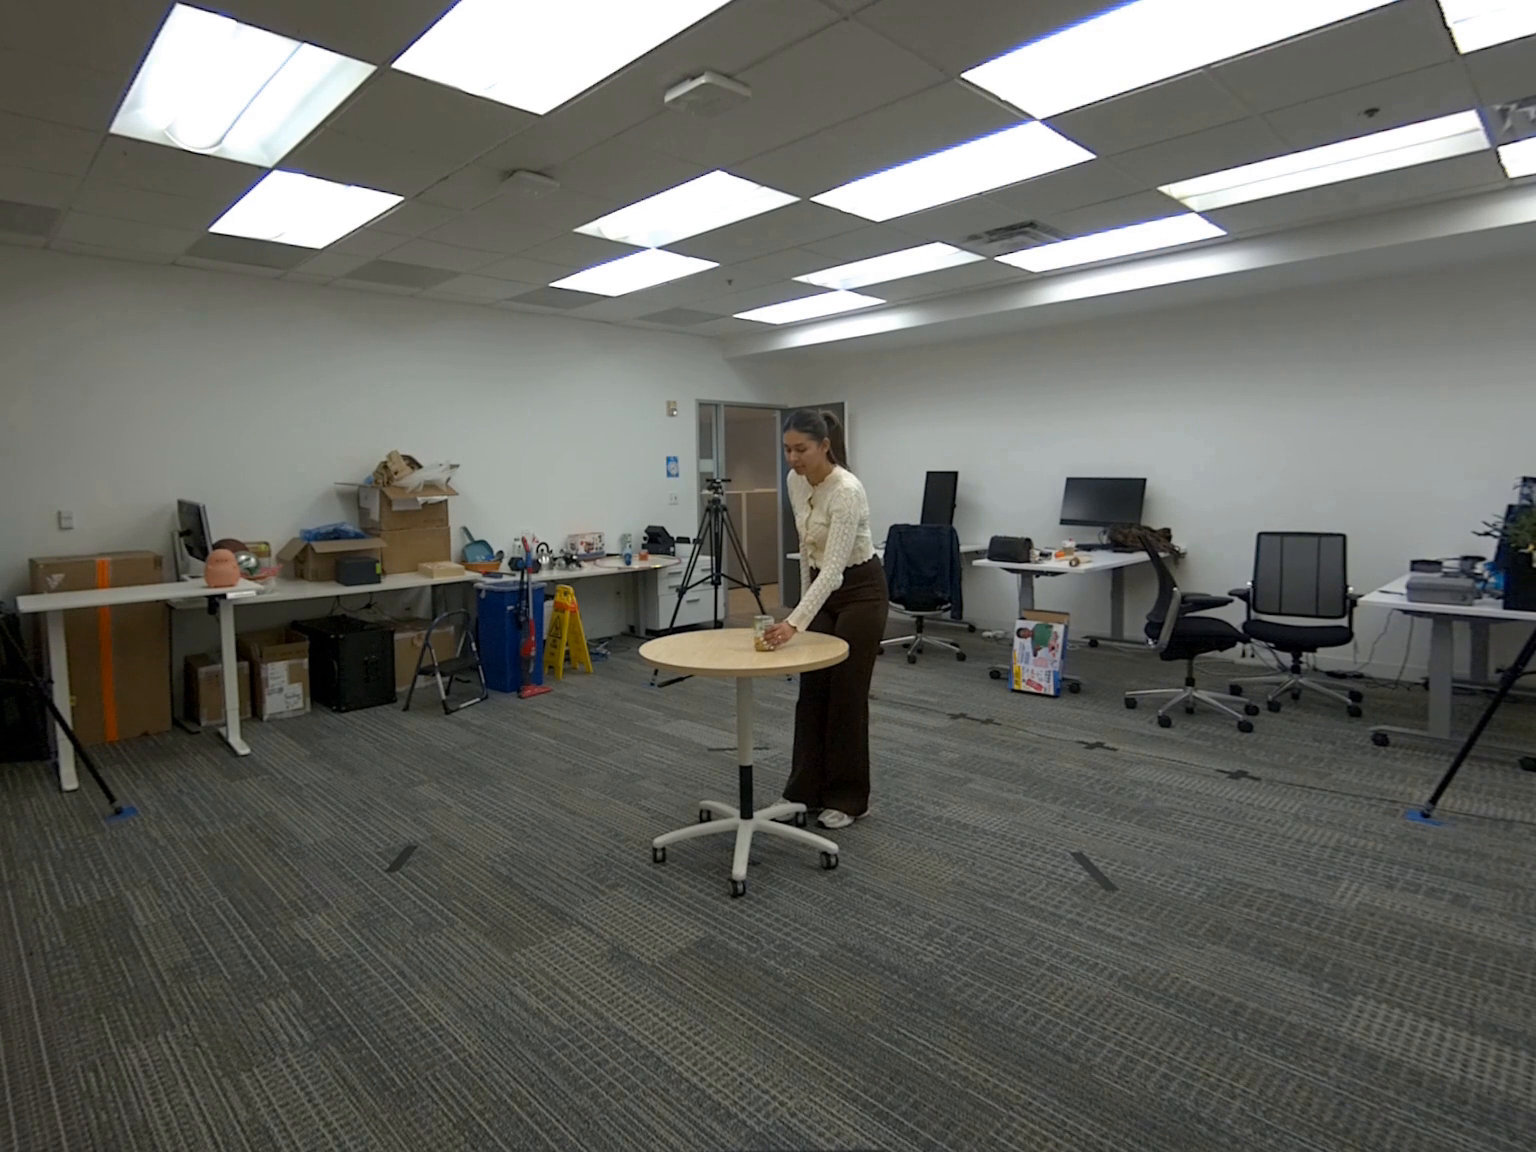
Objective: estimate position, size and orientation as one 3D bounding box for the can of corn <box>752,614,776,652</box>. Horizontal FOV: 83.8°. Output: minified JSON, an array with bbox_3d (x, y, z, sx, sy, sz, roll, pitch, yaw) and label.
[{"bbox_3d":[-0.006,0.199,3.043,0.074,0.110,0.074,-1,5,-2],"label":"can of corn"}]
